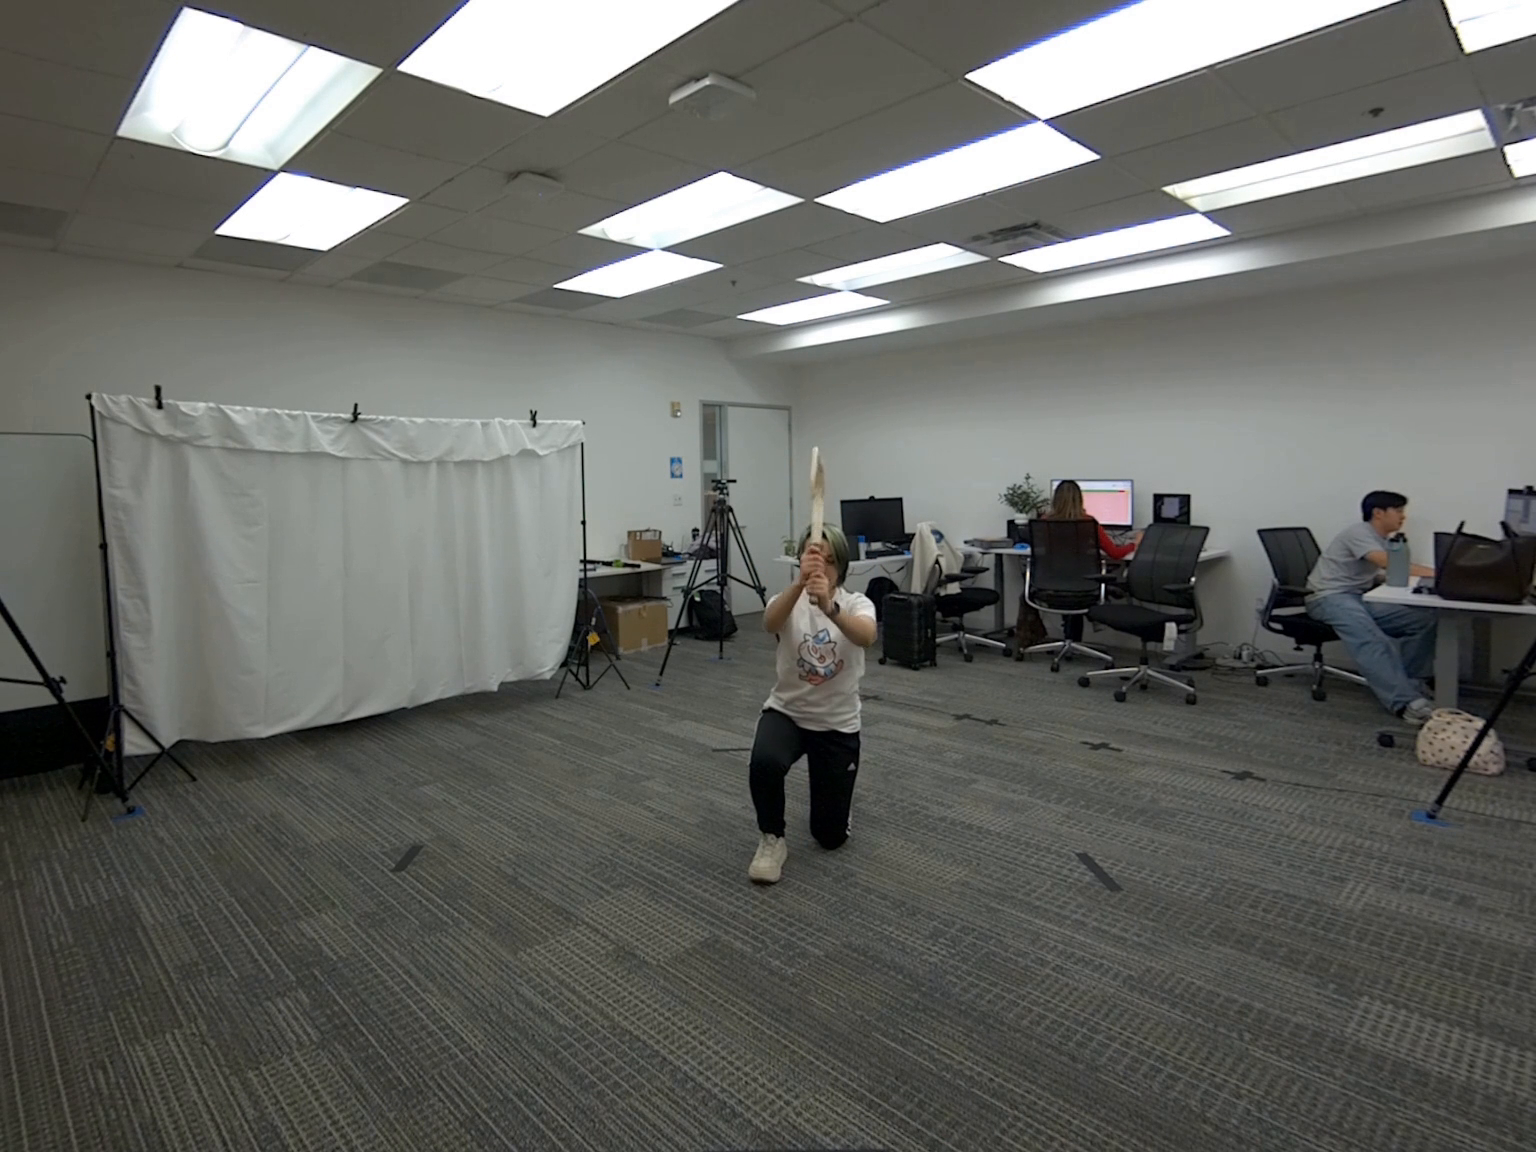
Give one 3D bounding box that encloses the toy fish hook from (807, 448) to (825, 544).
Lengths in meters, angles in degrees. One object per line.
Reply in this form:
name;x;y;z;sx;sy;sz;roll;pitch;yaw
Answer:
toy fish hook;0.157;-0.147;2.776;0.049;0.513;0.218;-1;-14;15
